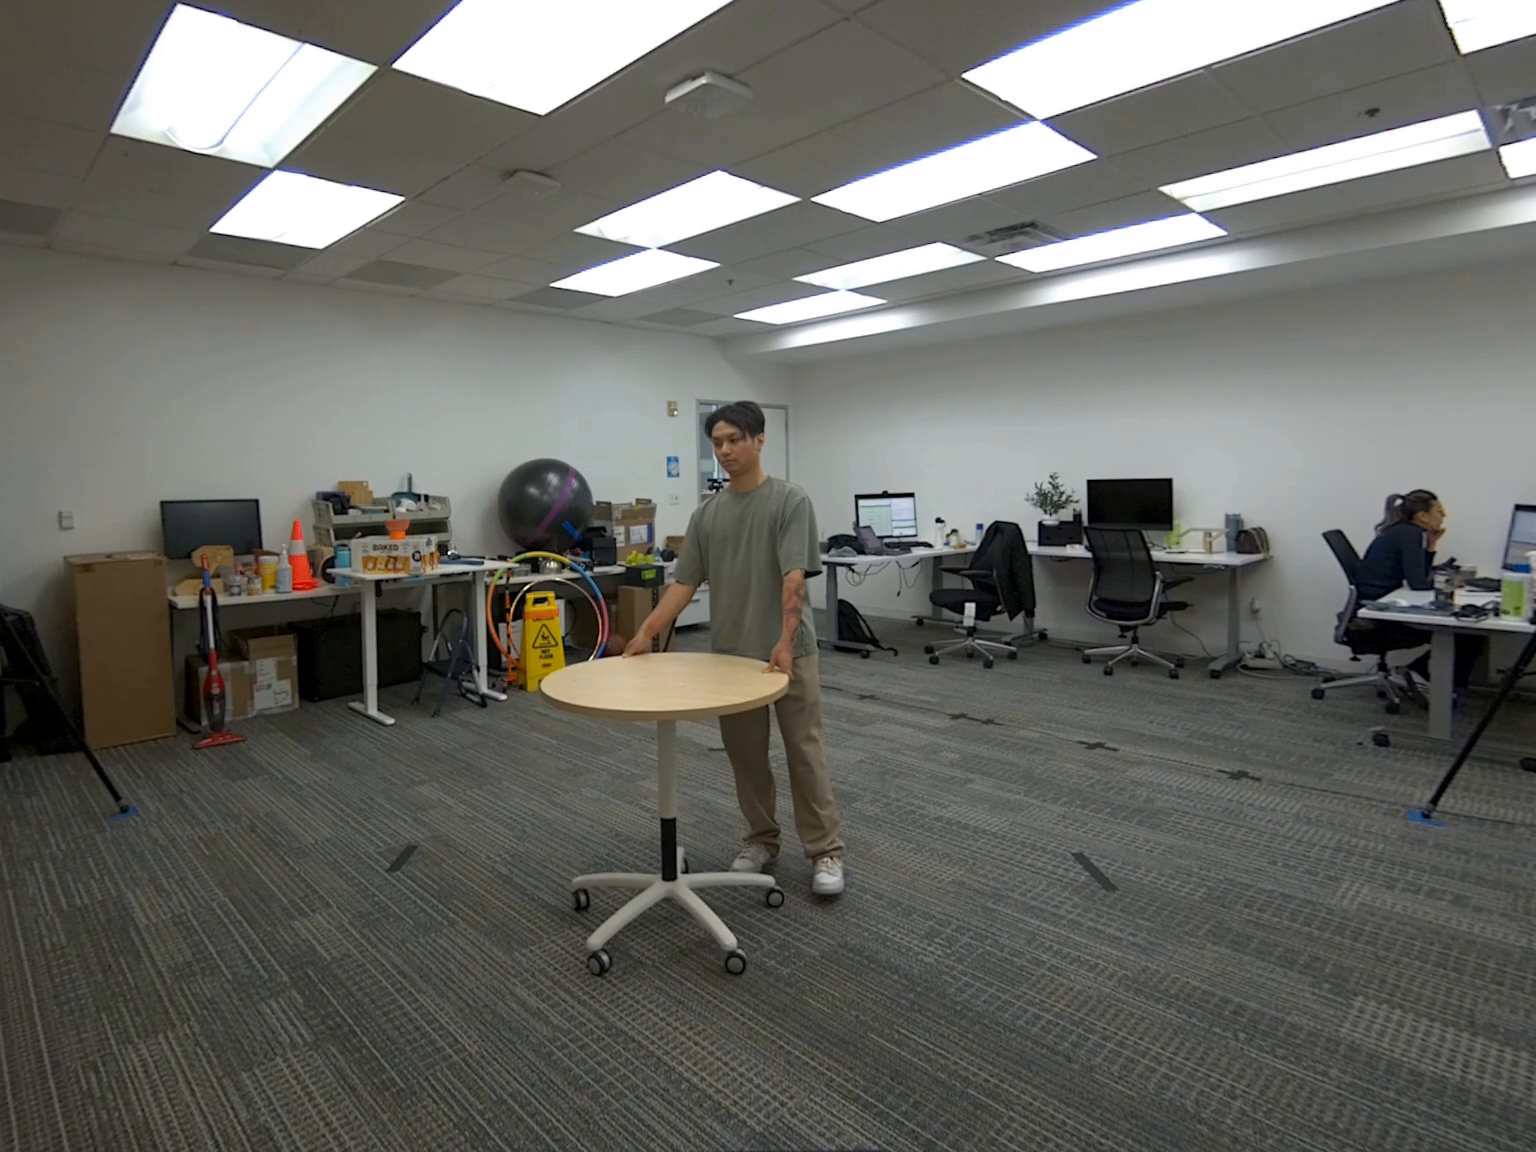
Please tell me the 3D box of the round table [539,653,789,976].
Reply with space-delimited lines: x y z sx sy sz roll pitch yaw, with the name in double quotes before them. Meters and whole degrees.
"round table" -0.320 0.707 2.671 0.784 0.783 0.789 -1 5 -2
